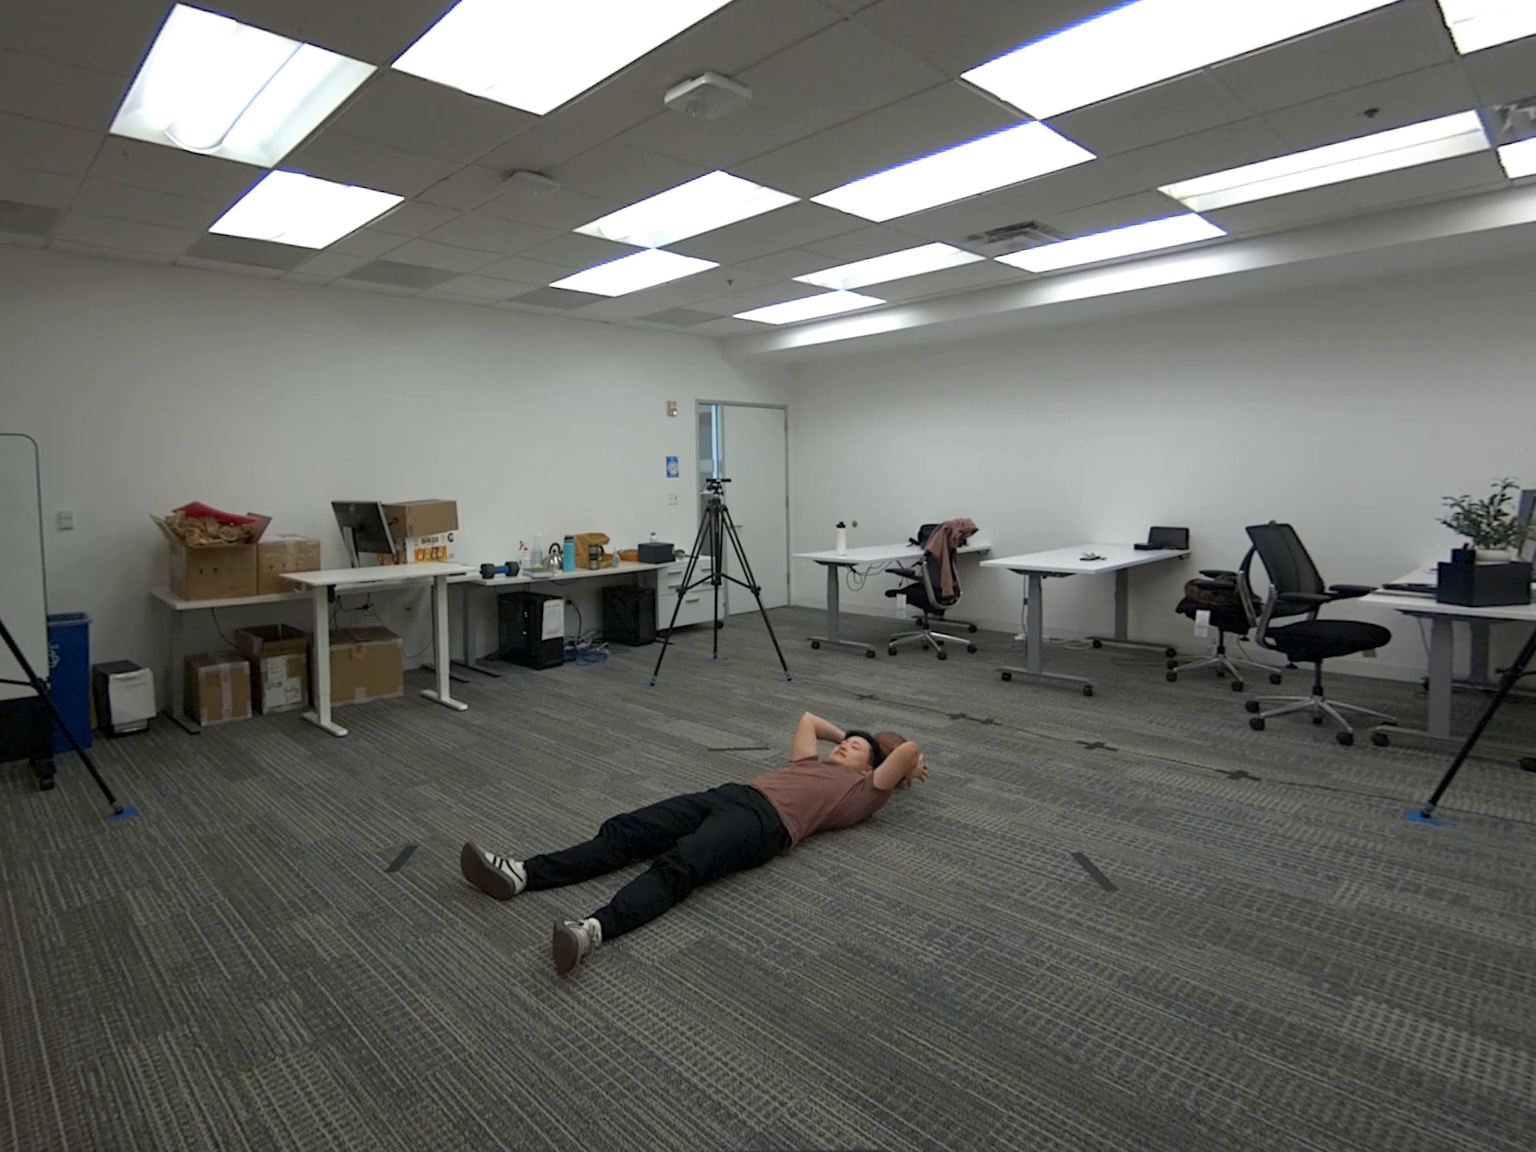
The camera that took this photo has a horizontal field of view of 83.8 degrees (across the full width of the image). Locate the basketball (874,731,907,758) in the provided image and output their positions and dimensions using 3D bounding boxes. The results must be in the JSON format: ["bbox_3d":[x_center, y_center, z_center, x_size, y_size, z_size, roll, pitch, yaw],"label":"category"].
[{"bbox_3d":[0.548,0.819,3.878,0.236,0.235,0.237,-2,5,-2],"label":"basketball"}]
